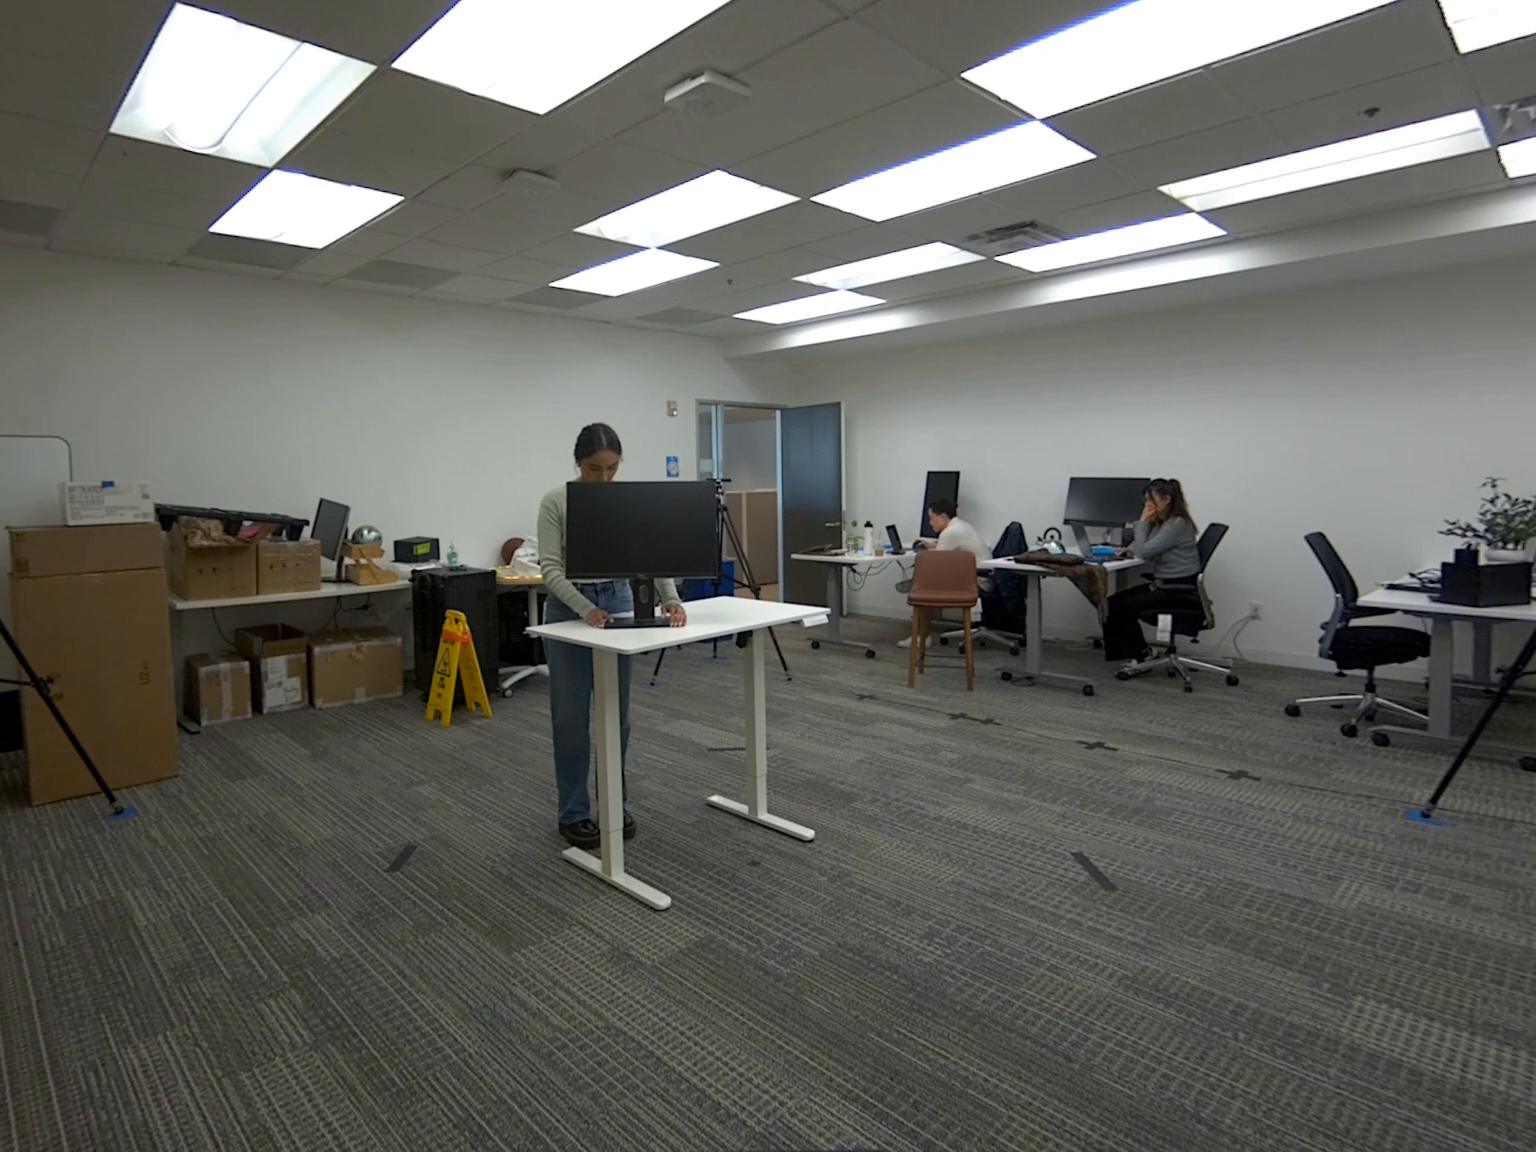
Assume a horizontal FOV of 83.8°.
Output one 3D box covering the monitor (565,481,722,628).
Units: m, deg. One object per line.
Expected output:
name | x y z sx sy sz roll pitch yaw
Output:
monitor | -0.449 -0.084 3.064 0.529 0.512 0.176 0 7 -1
